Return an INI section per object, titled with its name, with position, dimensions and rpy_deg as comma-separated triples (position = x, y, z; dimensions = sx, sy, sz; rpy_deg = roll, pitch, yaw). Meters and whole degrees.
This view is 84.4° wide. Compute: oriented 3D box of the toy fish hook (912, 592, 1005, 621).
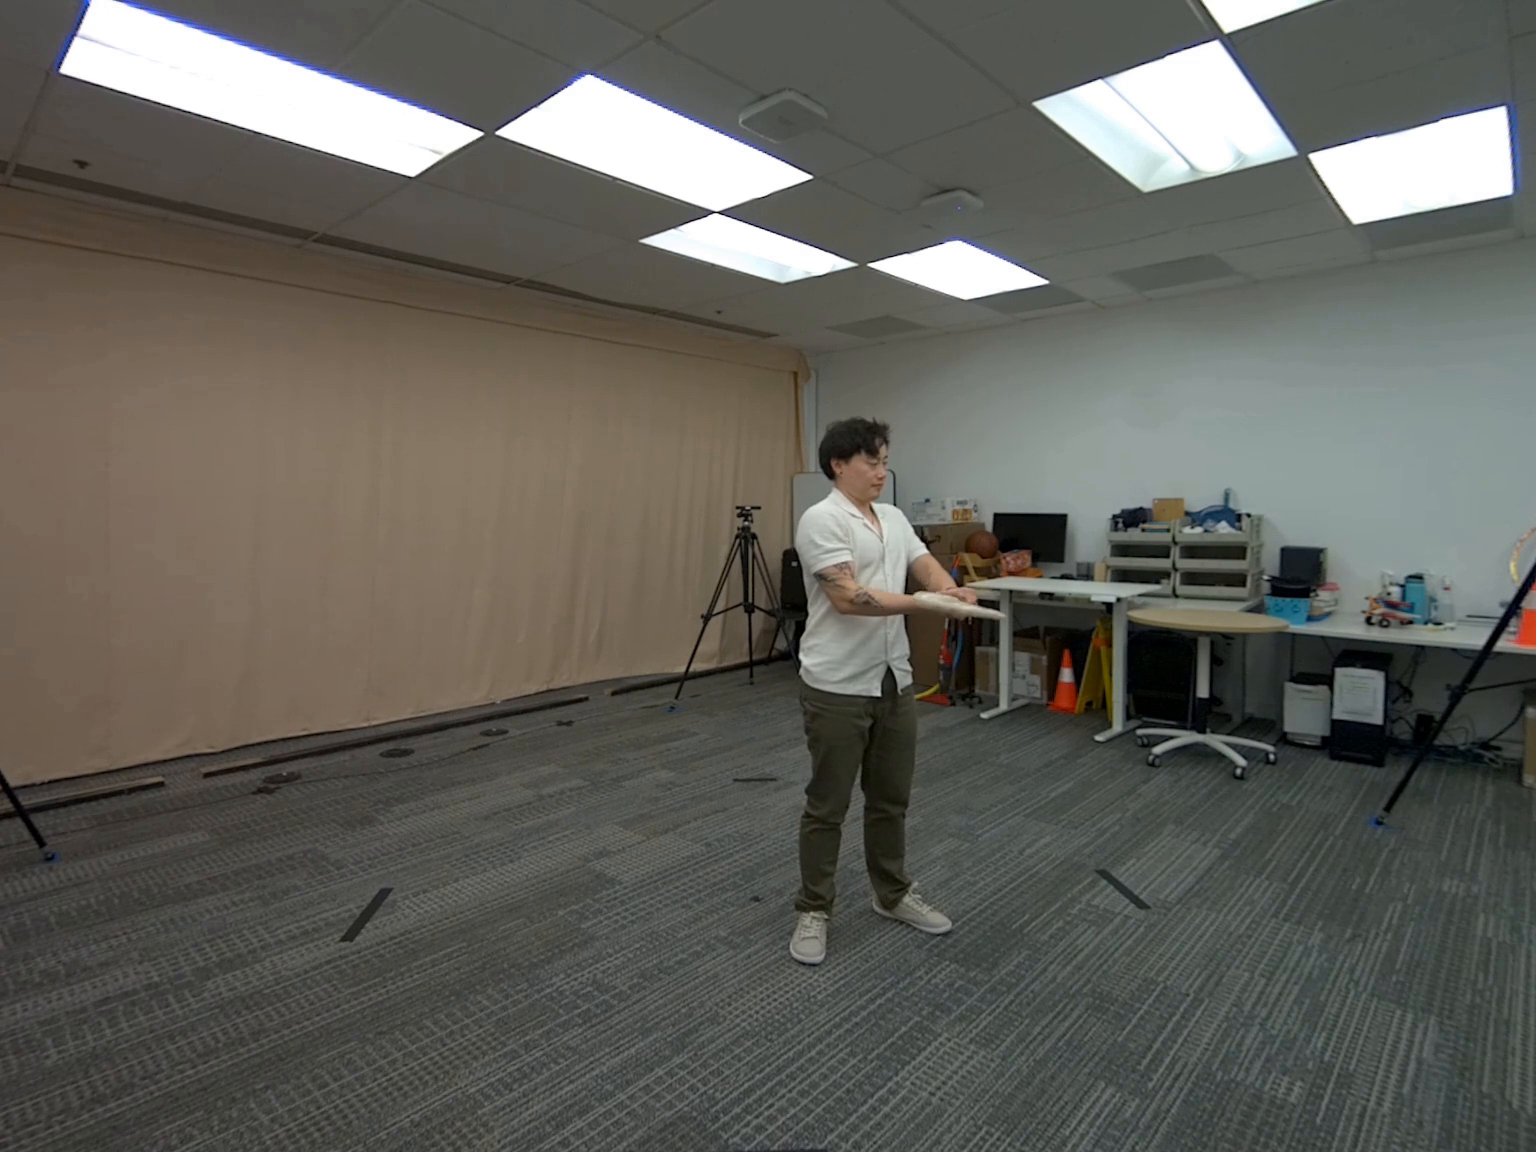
[toy fish hook]
position = 0.539, 0.087, 2.276
dimensions = 0.230, 0.048, 0.494
rpy_deg = 19, 6, 22
